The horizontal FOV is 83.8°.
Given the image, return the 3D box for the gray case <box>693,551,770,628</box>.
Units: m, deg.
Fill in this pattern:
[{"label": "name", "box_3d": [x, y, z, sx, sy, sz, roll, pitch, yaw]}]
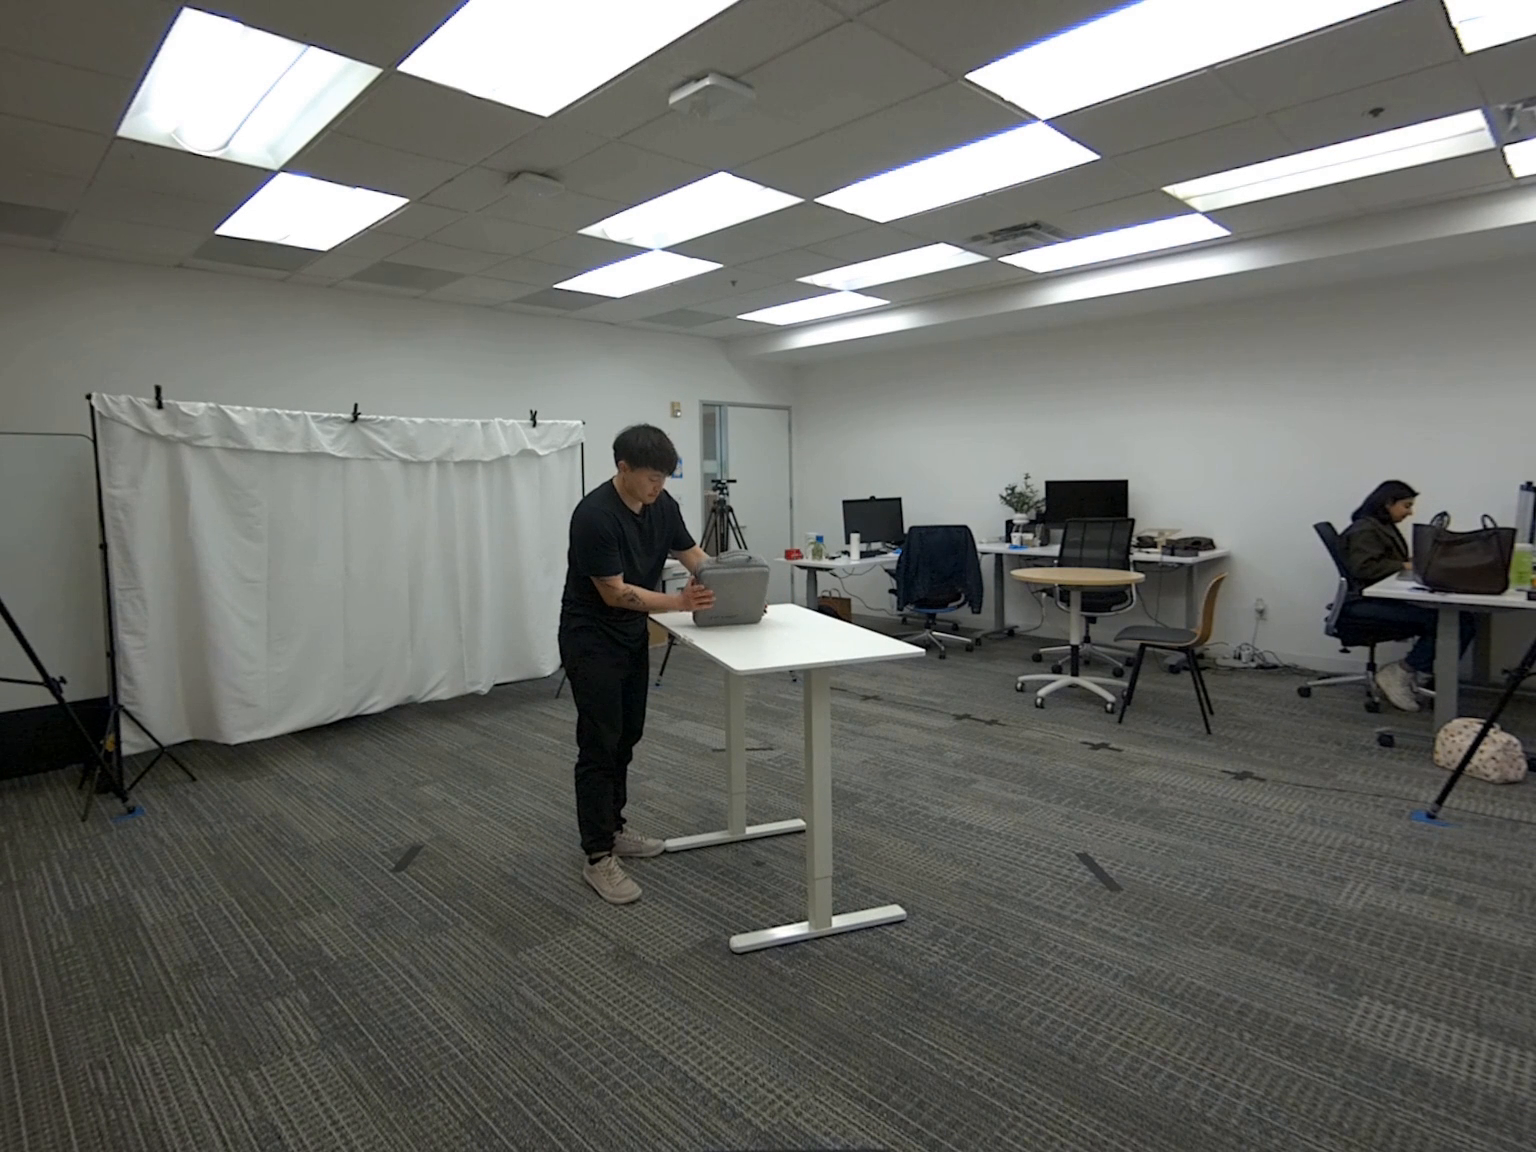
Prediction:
[{"label": "gray case", "box_3d": [-0.141, 0.049, 2.991, 0.254, 0.255, 0.107, 0, 29, -10]}]
